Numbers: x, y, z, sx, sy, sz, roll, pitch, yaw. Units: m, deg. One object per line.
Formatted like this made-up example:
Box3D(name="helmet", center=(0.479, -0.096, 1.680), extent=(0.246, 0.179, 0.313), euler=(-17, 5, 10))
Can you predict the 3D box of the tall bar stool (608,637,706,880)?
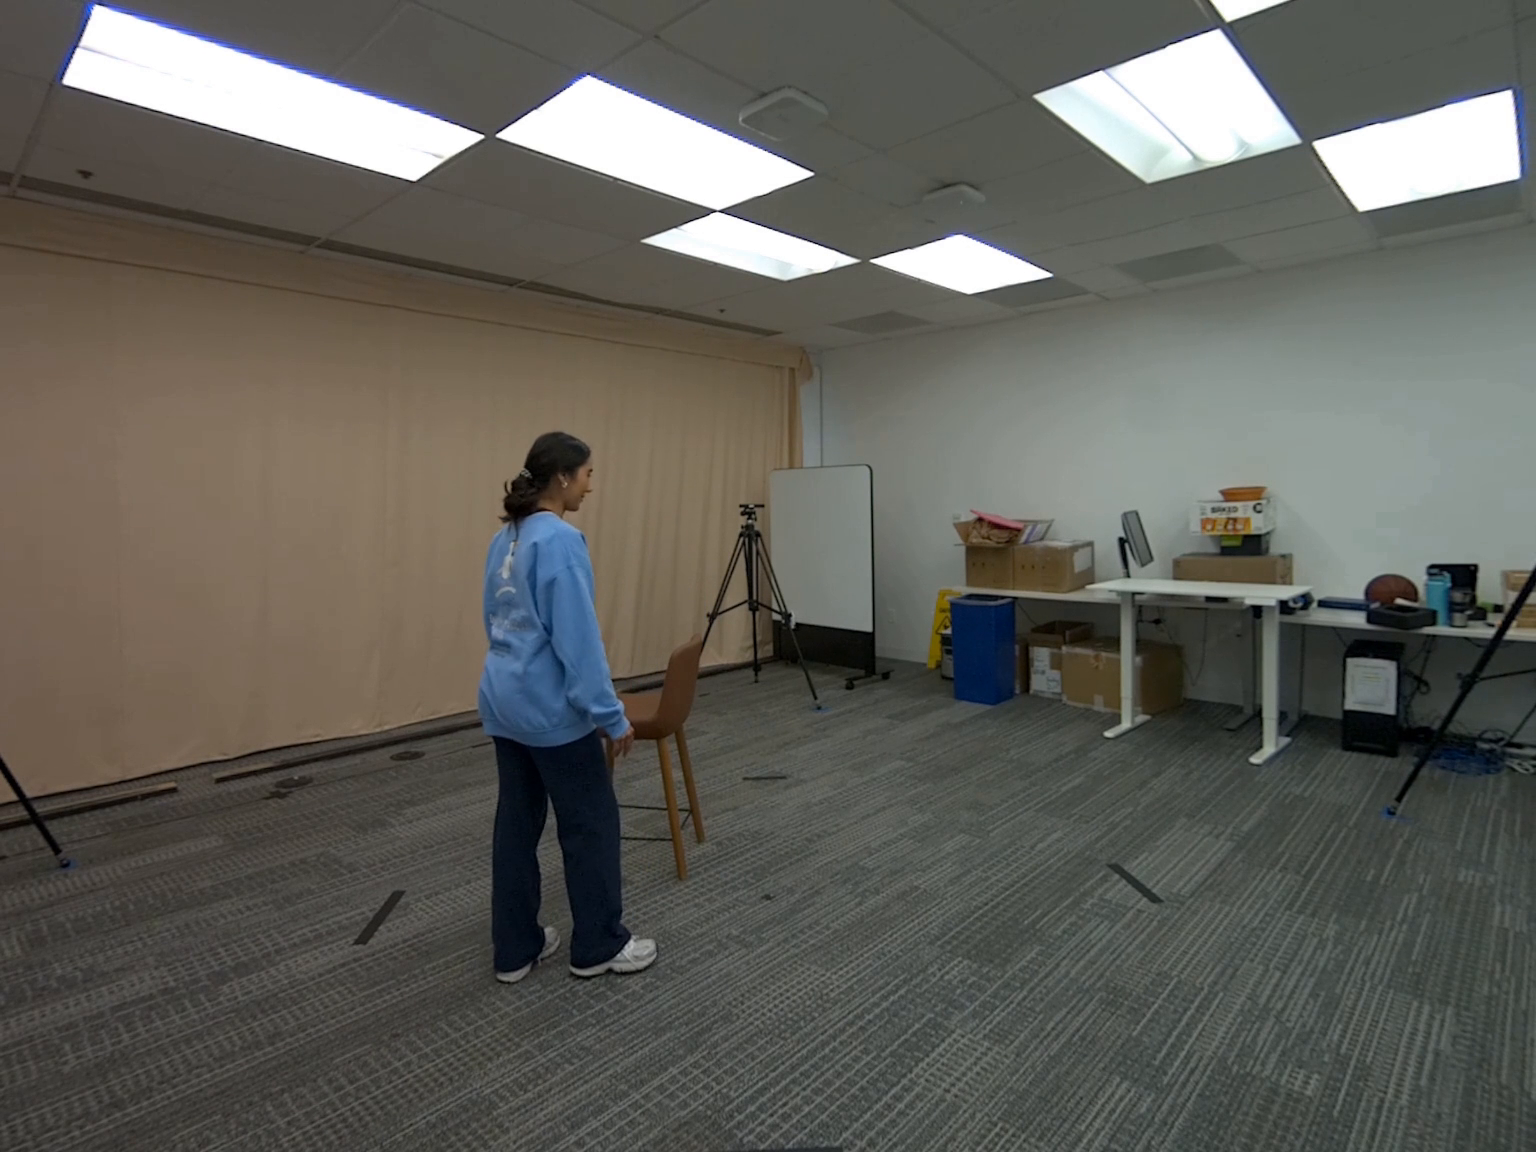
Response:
Box3D(name="tall bar stool", center=(-0.509, 0.688, 3.338), extent=(0.473, 0.888, 0.452), euler=(0, 4, 10))
